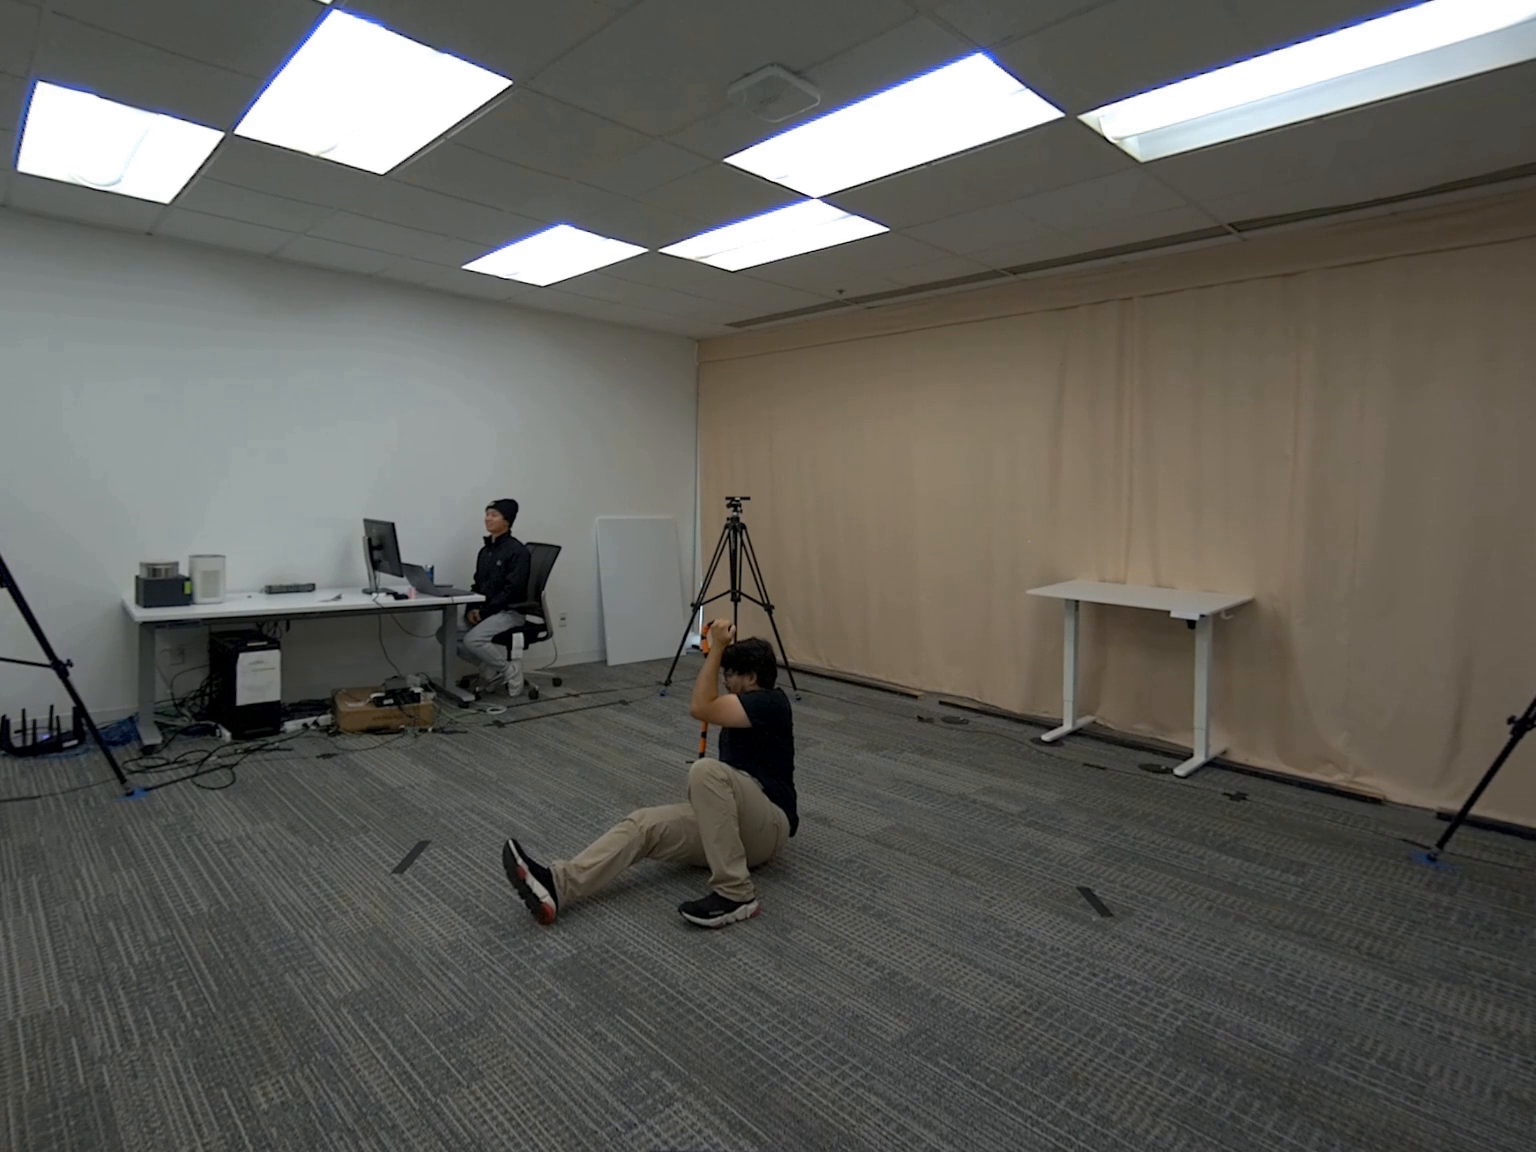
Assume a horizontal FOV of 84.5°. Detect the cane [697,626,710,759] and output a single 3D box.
[{"bbox_3d":[-0.249,0.615,3.362,0.148,0.905,0.212,0,7,-44],"label":"cane"}]
